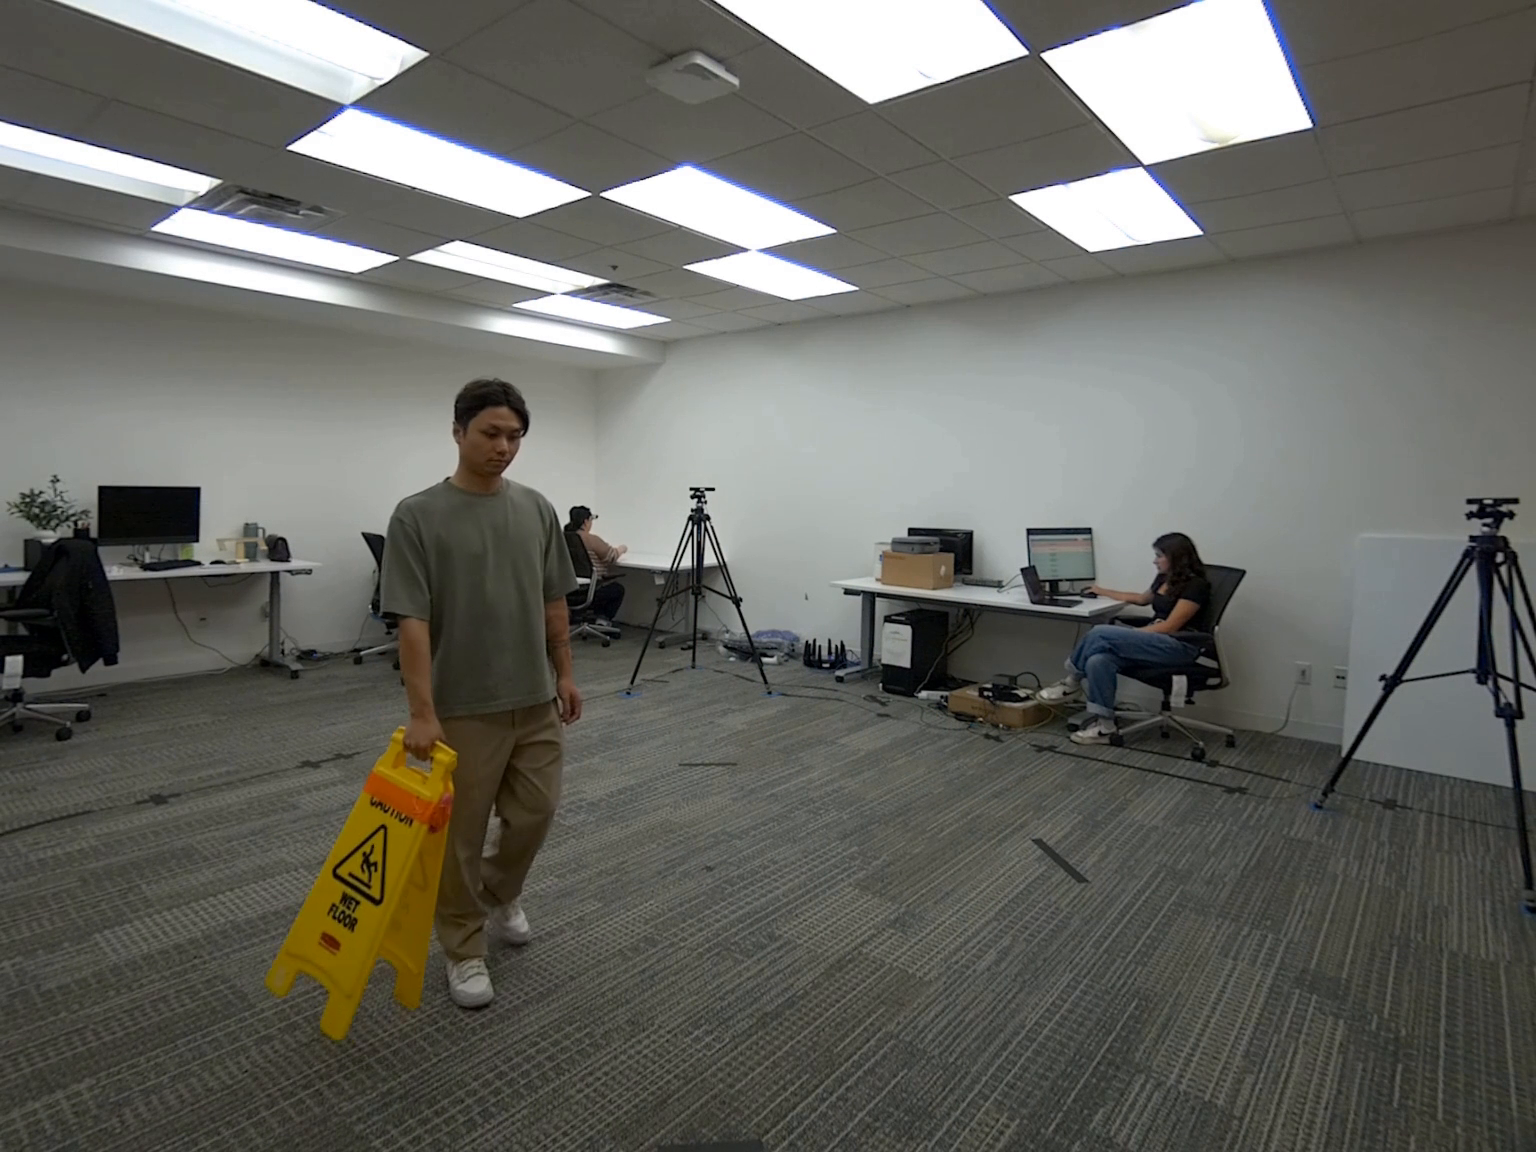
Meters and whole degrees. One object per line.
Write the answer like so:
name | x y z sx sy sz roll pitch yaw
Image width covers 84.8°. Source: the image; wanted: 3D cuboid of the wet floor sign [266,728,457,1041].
wet floor sign | -0.938 0.713 2.108 0.291 0.647 0.280 16 -4 24
